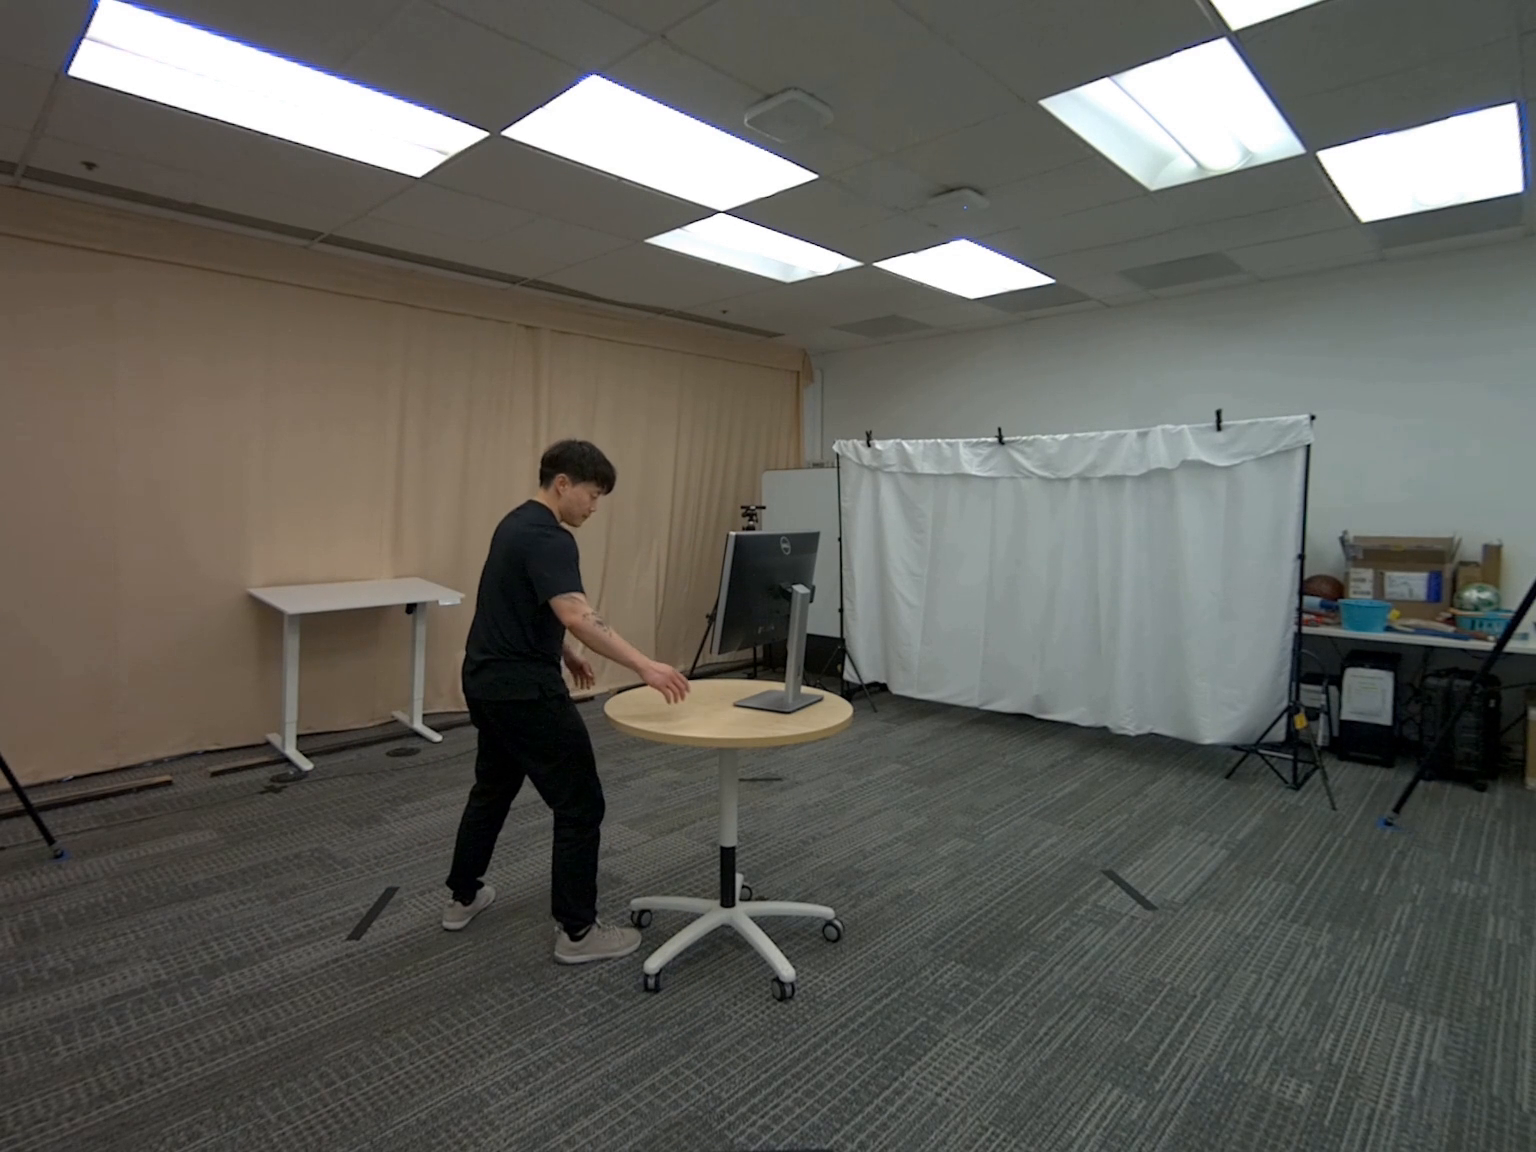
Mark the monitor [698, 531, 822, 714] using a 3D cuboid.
[{"bbox_3d":[0.040,0.139,2.617,0.192,0.522,0.525,-1,3,29],"label":"monitor"}]
